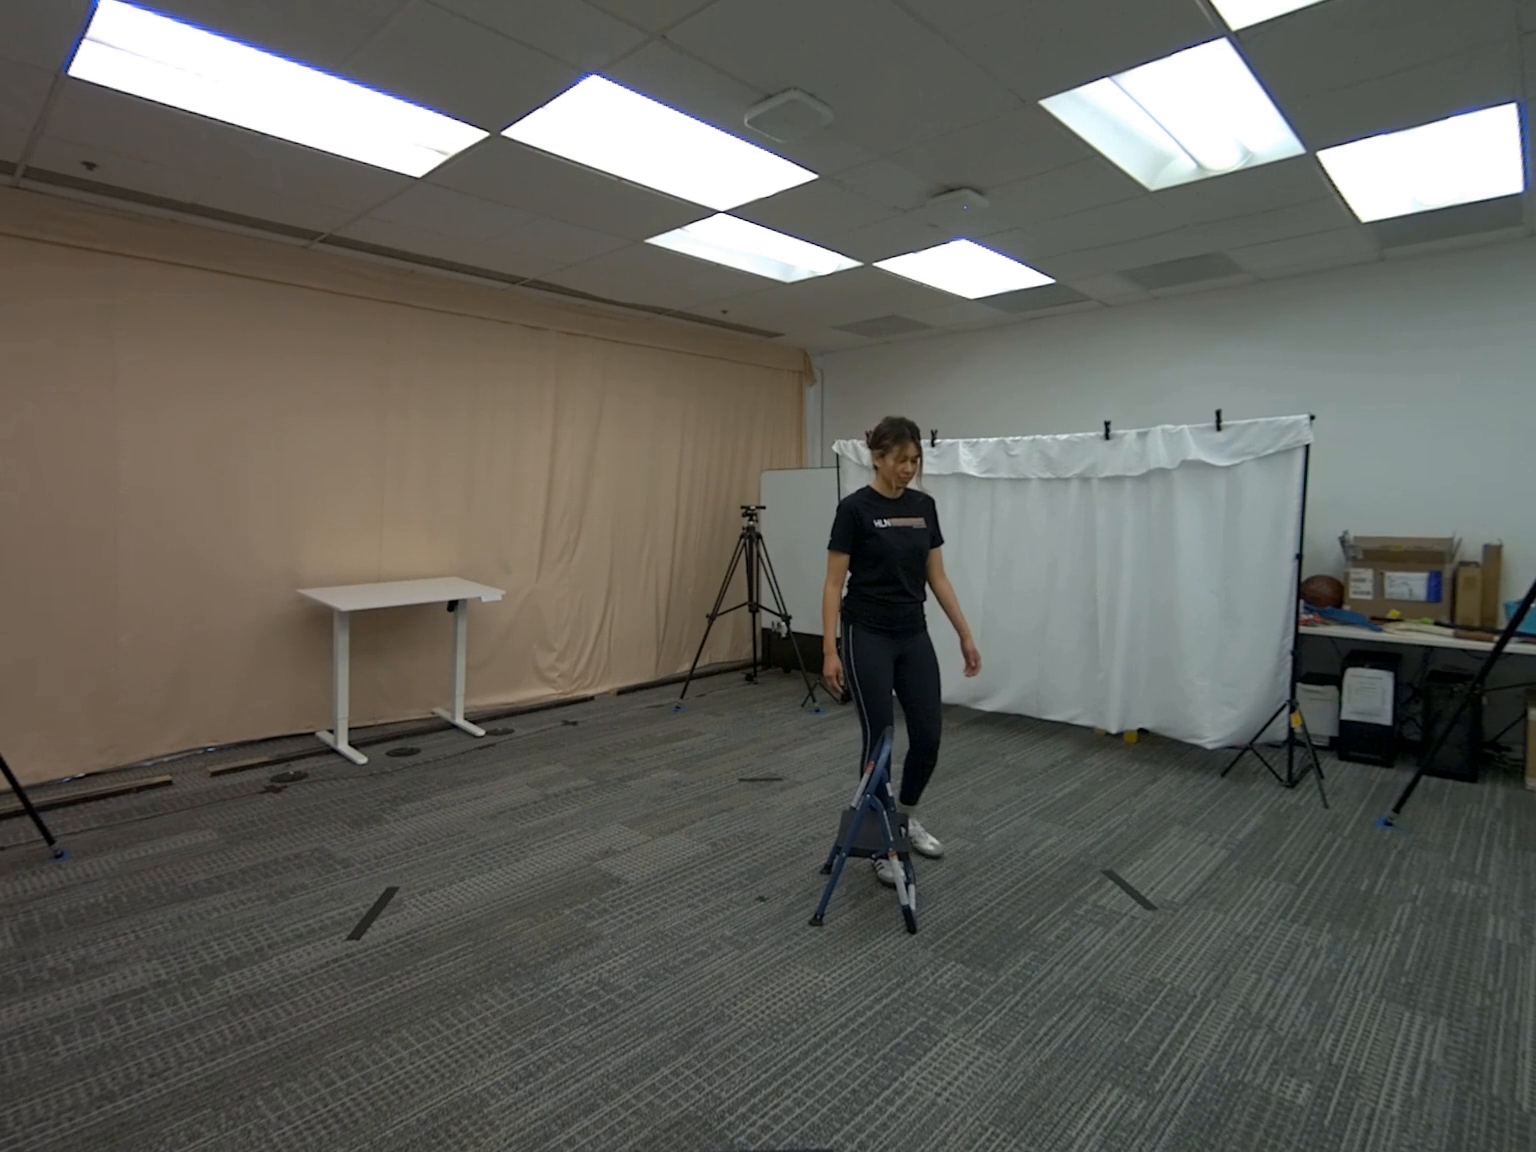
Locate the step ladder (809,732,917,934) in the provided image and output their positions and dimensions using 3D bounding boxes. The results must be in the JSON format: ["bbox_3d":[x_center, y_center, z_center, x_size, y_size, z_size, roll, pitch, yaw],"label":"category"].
[{"bbox_3d":[0.345,0.843,2.943,0.353,0.605,0.426,0,3,10],"label":"step ladder"}]
